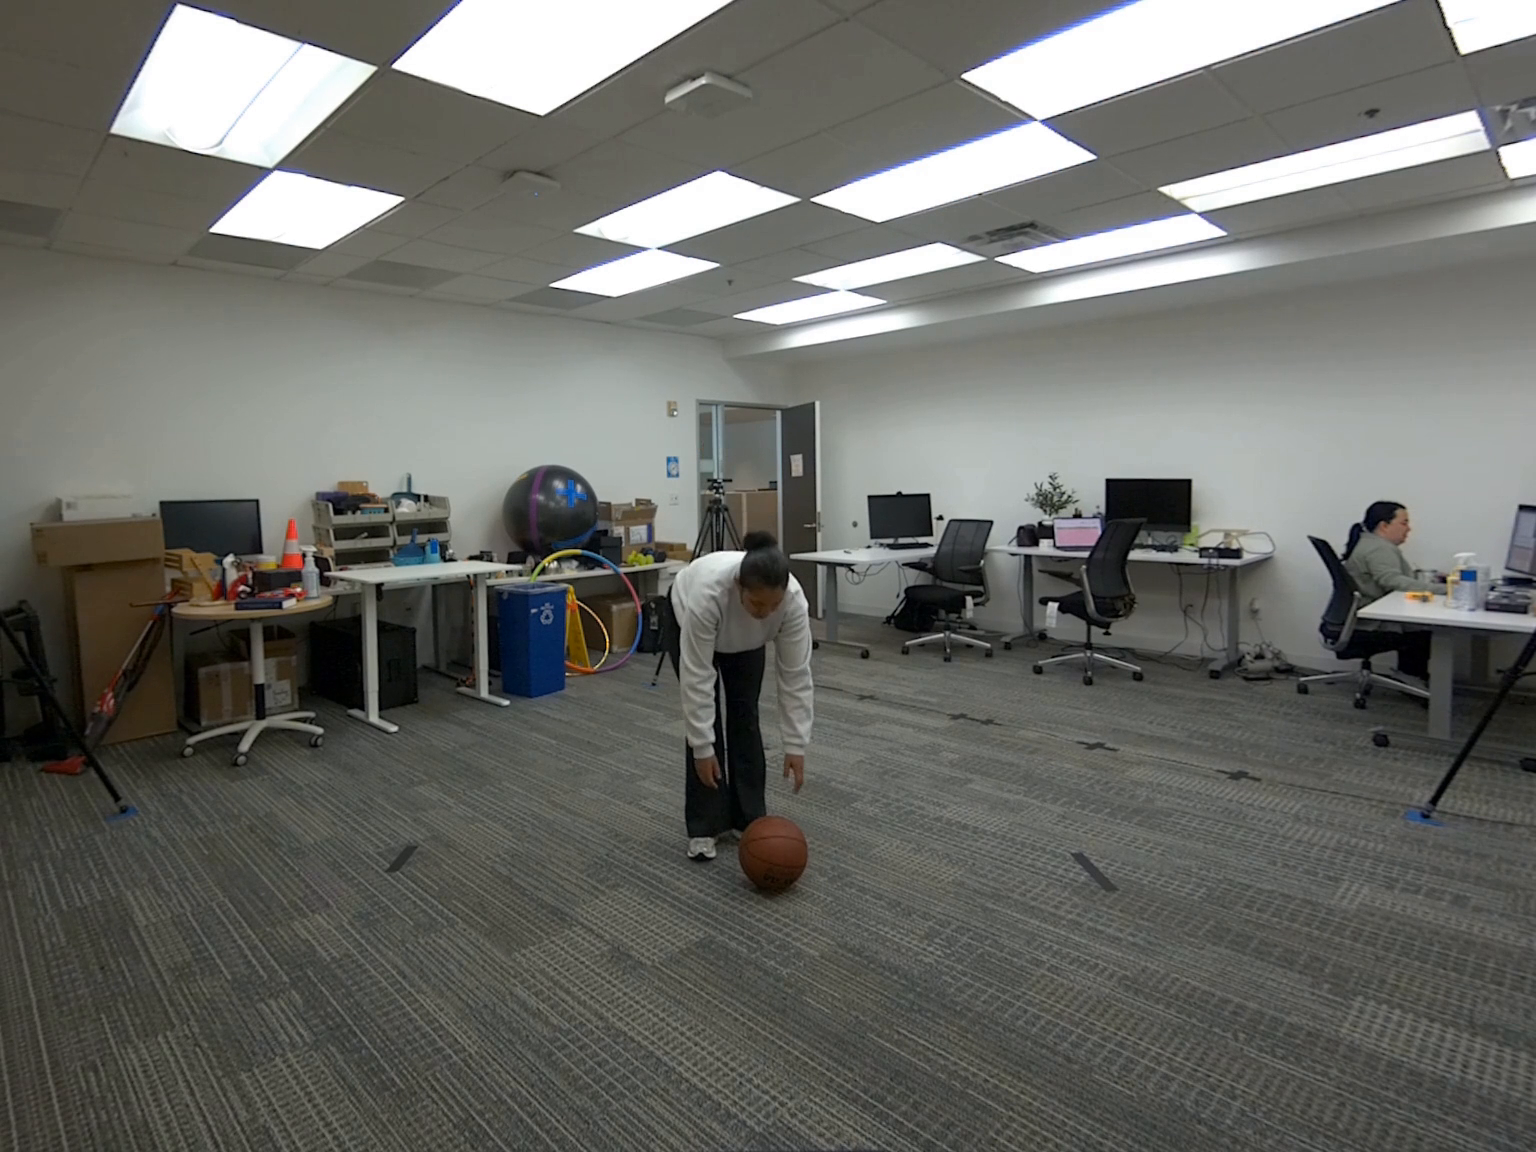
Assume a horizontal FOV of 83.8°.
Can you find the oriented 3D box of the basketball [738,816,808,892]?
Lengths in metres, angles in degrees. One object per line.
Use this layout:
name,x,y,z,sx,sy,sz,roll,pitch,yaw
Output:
basketball,0.018,0.939,2.929,0.236,0.235,0.237,-1,5,-2
